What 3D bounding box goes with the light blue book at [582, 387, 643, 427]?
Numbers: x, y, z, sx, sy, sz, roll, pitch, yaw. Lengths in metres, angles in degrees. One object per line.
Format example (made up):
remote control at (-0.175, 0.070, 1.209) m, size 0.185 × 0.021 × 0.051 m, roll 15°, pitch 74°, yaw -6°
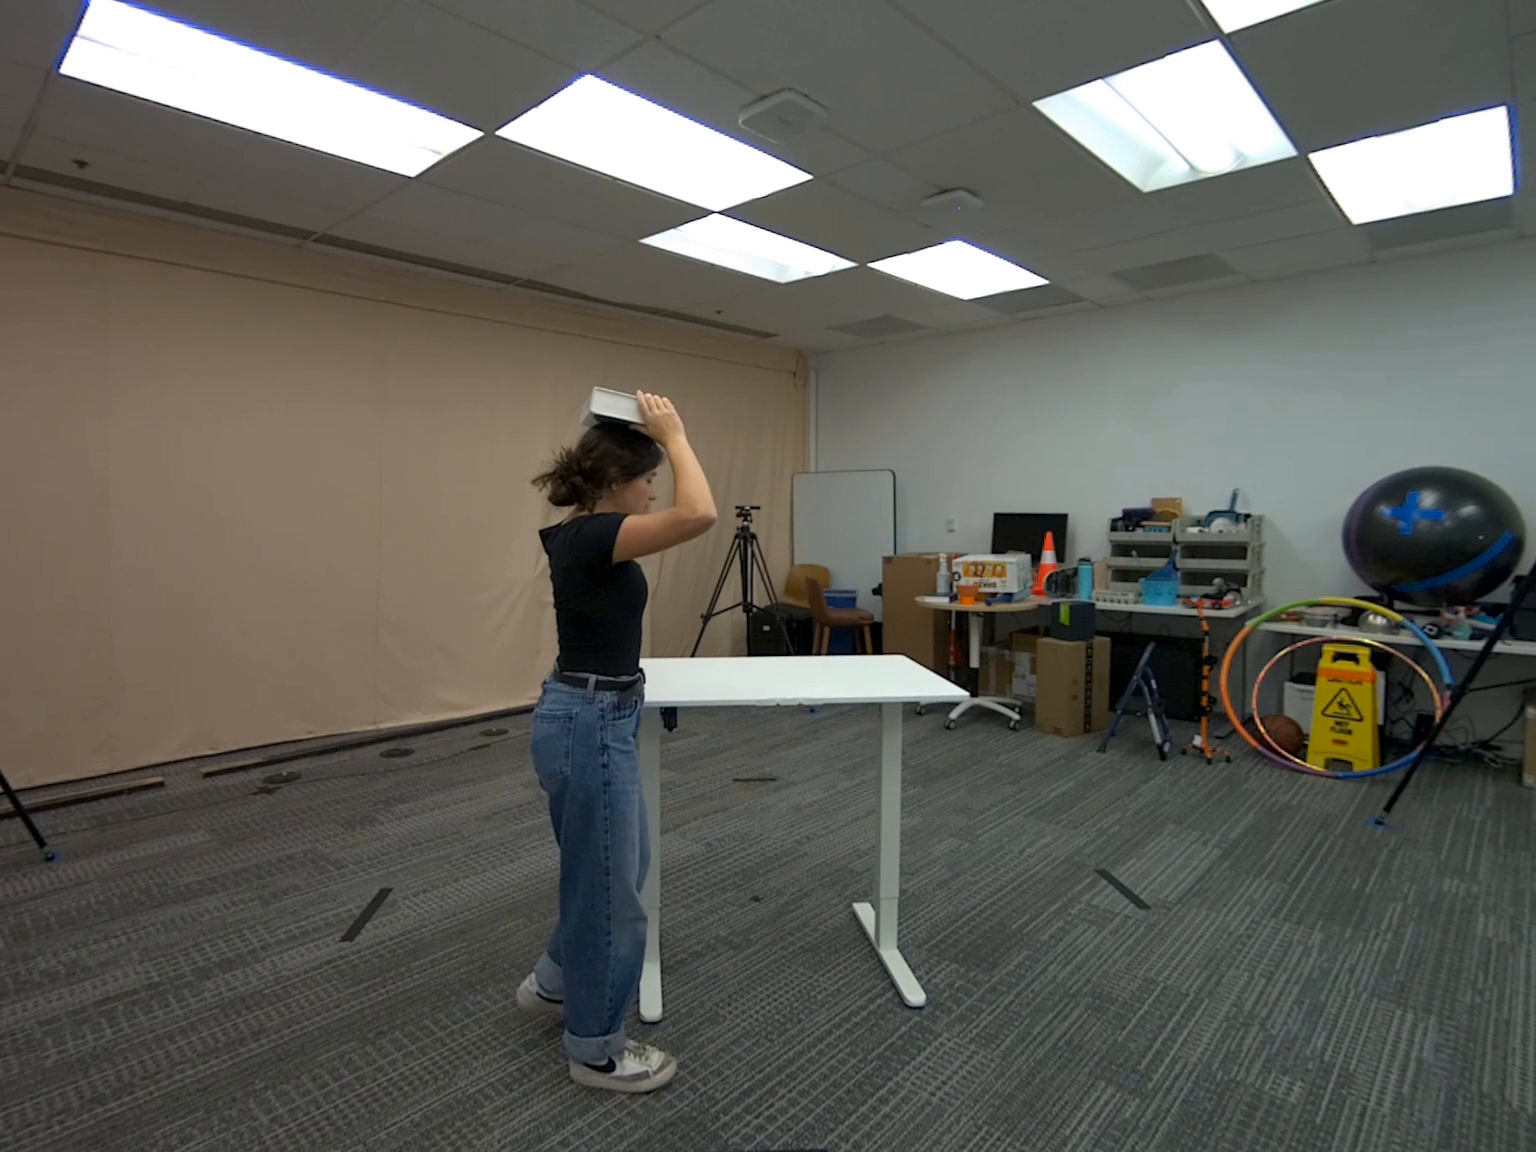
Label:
light blue book at (-0.350, -0.388, 2.024) m, size 0.188 × 0.059 × 0.266 m, roll 9°, pitch 1°, yaw -17°
